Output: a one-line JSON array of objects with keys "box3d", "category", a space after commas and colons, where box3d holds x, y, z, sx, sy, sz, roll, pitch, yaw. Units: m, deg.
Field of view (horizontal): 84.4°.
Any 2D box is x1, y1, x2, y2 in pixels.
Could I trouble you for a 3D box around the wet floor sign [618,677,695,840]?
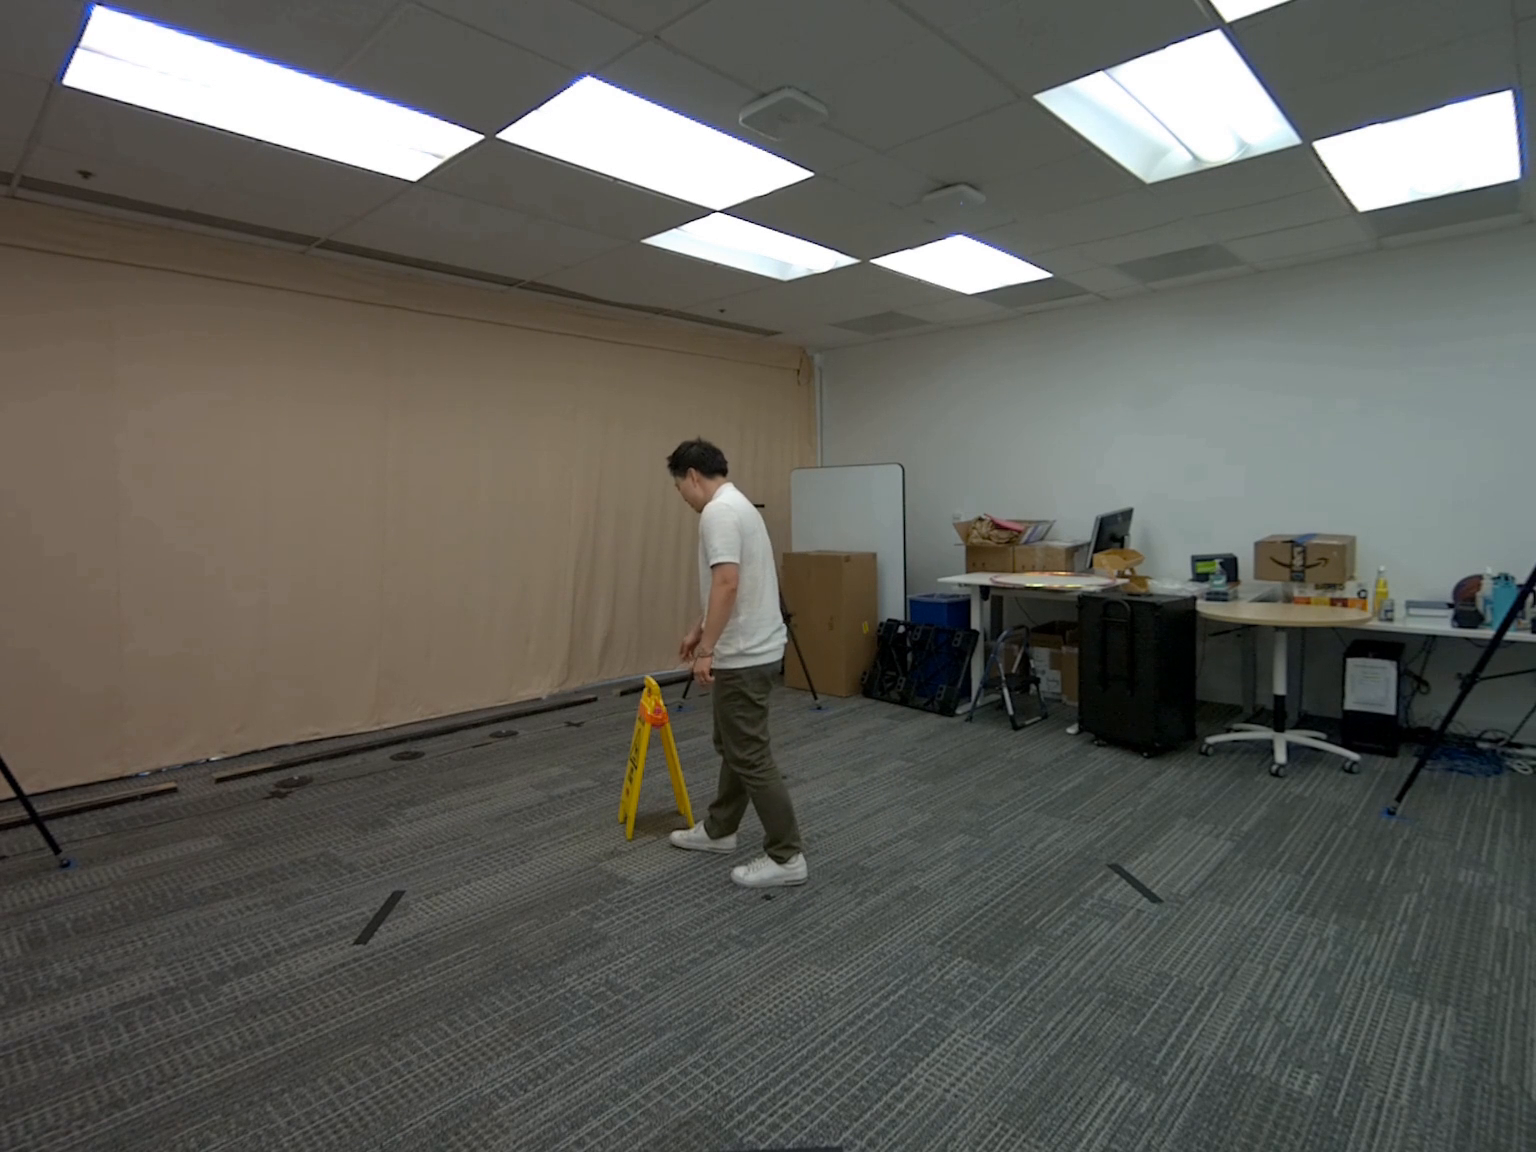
[{"box3d": [-0.500, 0.767, 3.676, 0.285, 0.645, 0.288, -2, 3, -18], "category": "wet floor sign"}]
